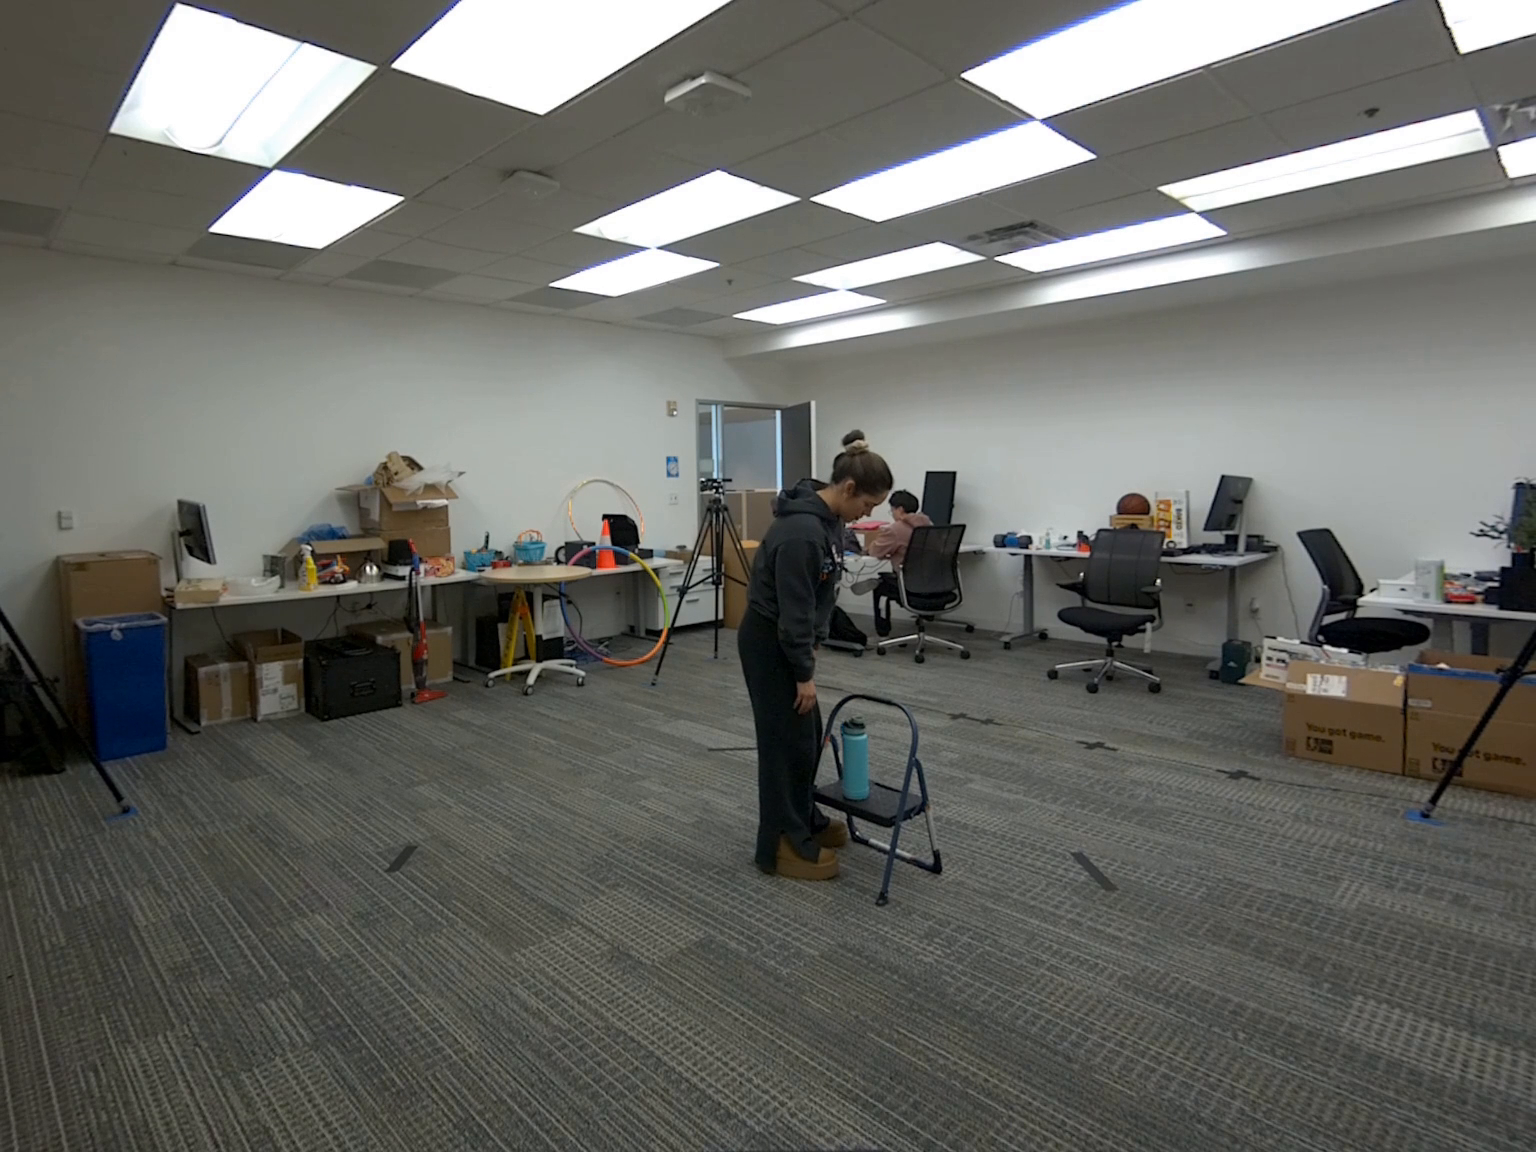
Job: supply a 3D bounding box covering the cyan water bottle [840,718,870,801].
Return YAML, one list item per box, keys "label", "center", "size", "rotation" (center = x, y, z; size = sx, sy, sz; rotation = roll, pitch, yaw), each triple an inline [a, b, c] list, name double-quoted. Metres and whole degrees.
- label: "cyan water bottle"
  center: [0.303, 0.645, 3.024]
  size: [0.092, 0.281, 0.093]
  rotation: [-3, 7, -1]
